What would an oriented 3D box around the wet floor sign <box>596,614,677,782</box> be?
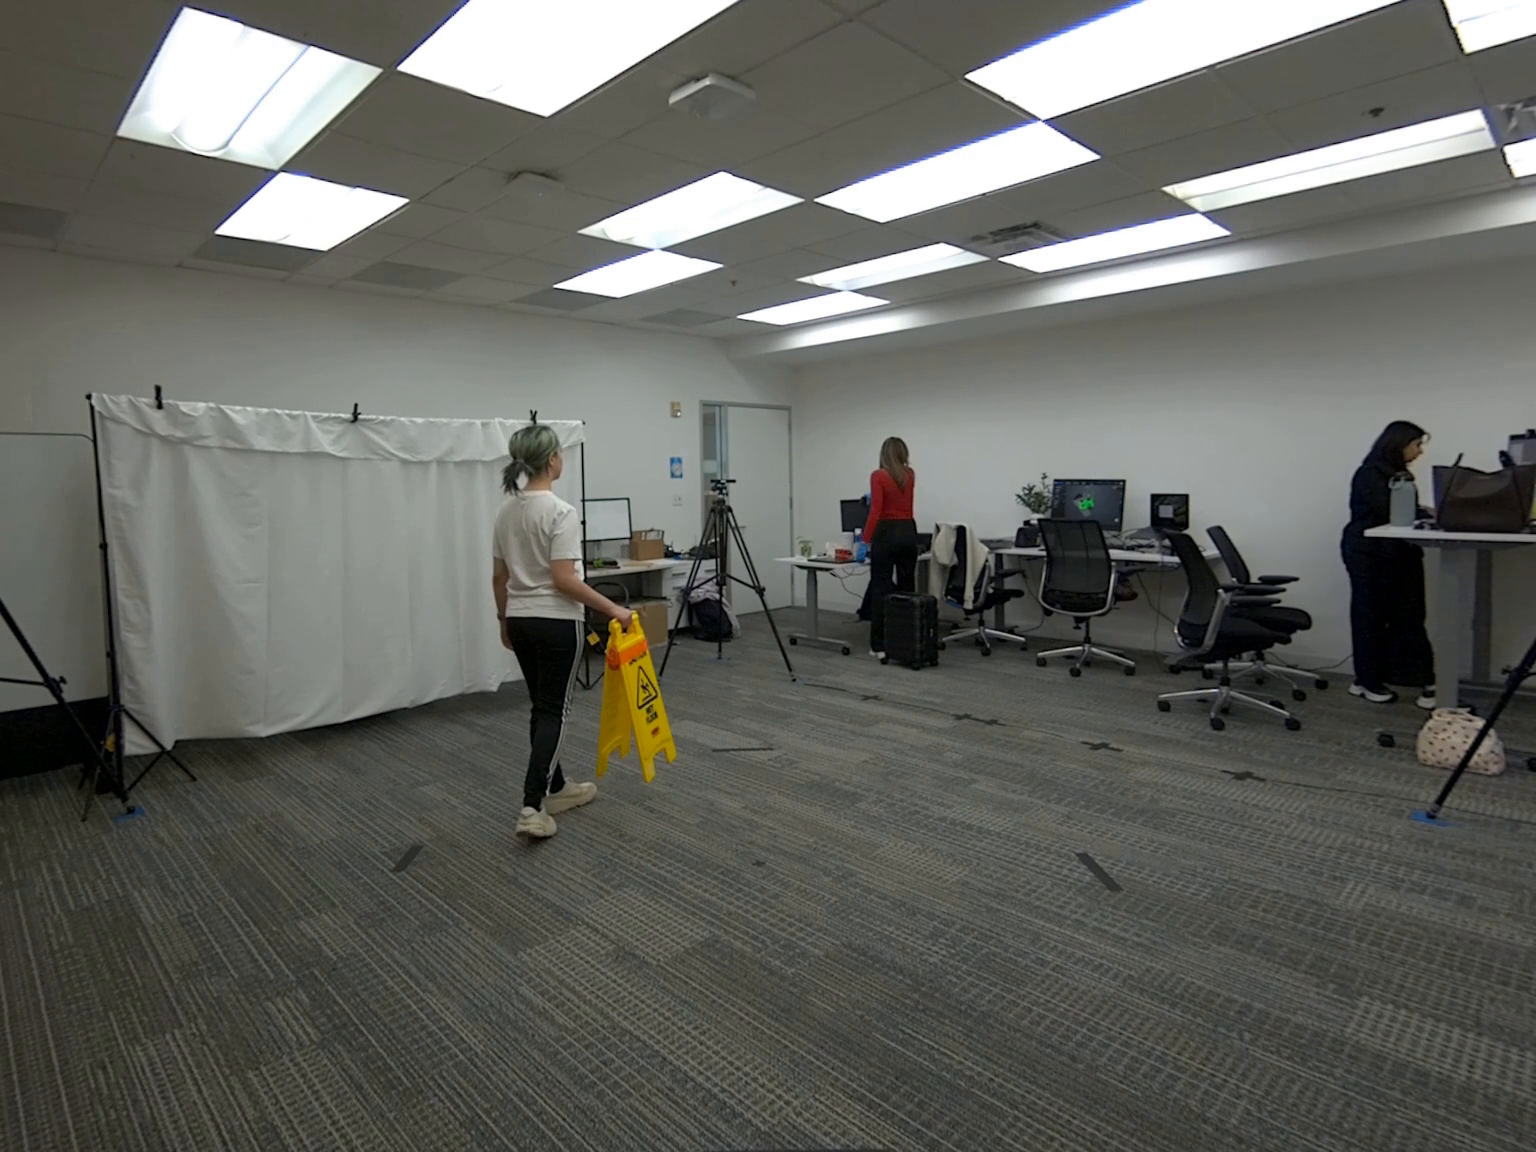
[{"bbox_3d":[-0.570,0.479,3.540,0.295,0.640,0.279,0,10,20],"label":"wet floor sign"}]
